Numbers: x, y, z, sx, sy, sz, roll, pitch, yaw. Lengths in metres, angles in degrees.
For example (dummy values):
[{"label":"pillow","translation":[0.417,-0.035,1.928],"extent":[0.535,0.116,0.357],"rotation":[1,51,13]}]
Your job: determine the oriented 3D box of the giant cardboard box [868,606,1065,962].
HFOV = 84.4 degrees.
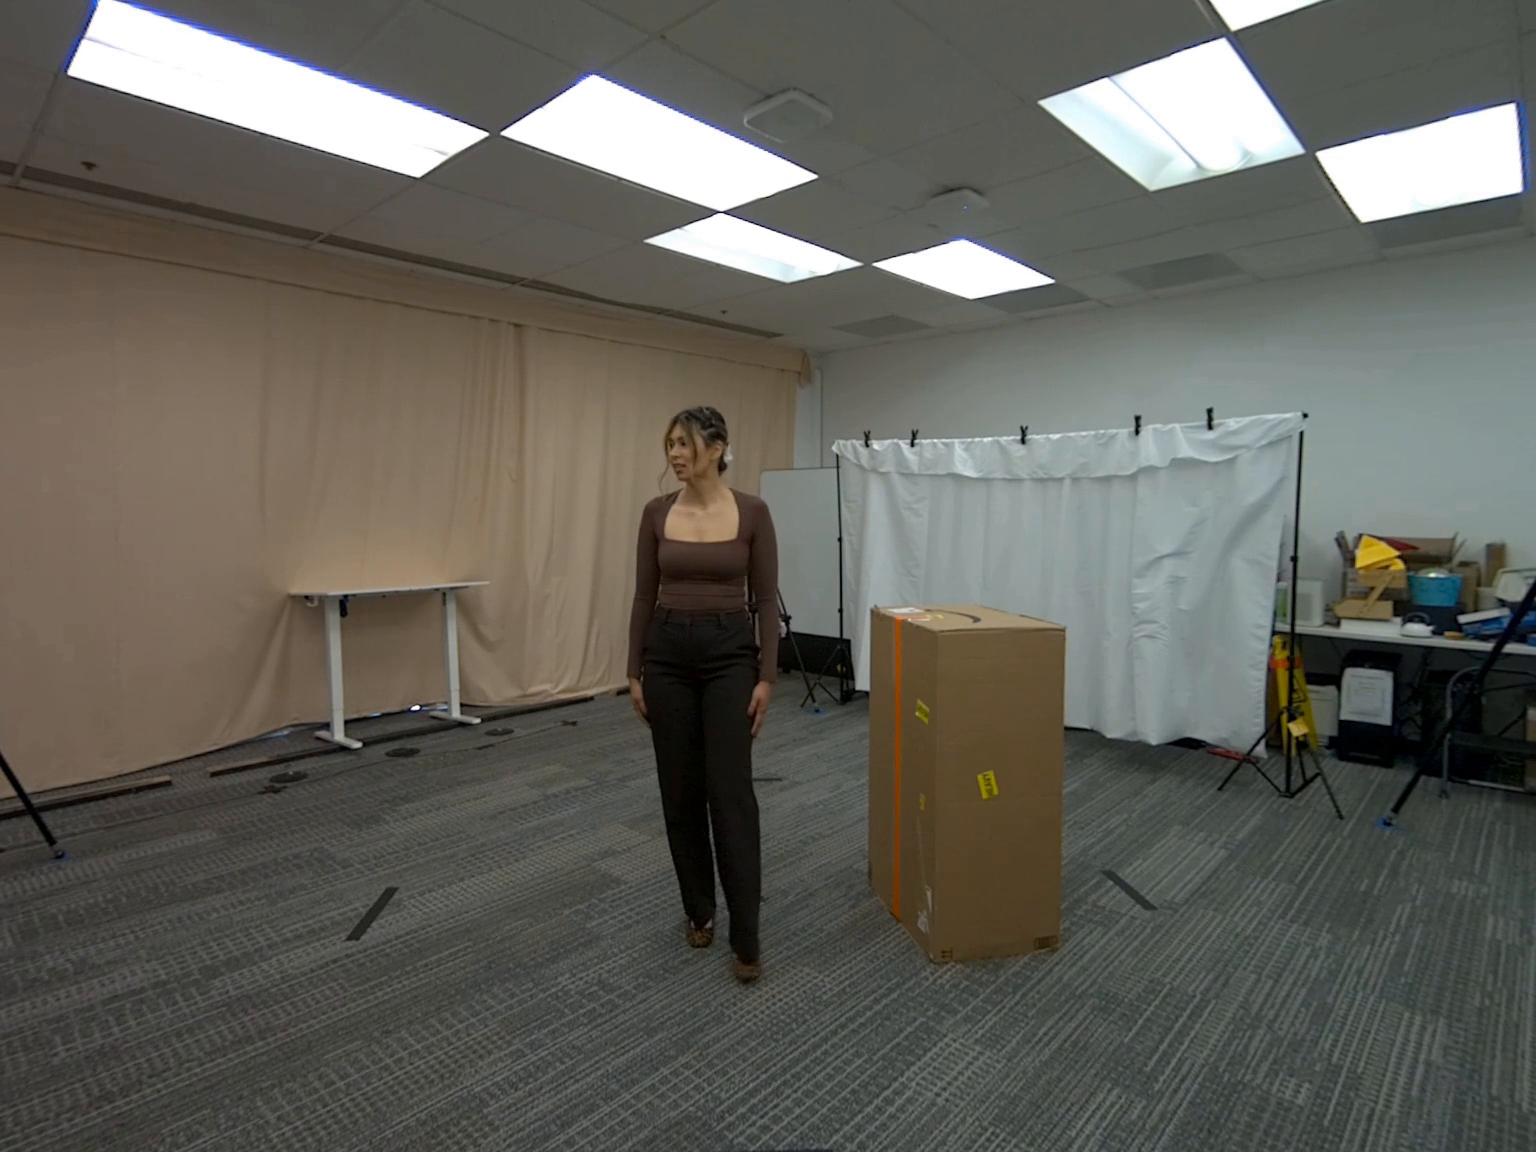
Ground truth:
[{"label":"giant cardboard box","translation":[0.648,0.639,2.845],"extent":[0.442,1.025,0.592],"rotation":[0,3,-12]}]
